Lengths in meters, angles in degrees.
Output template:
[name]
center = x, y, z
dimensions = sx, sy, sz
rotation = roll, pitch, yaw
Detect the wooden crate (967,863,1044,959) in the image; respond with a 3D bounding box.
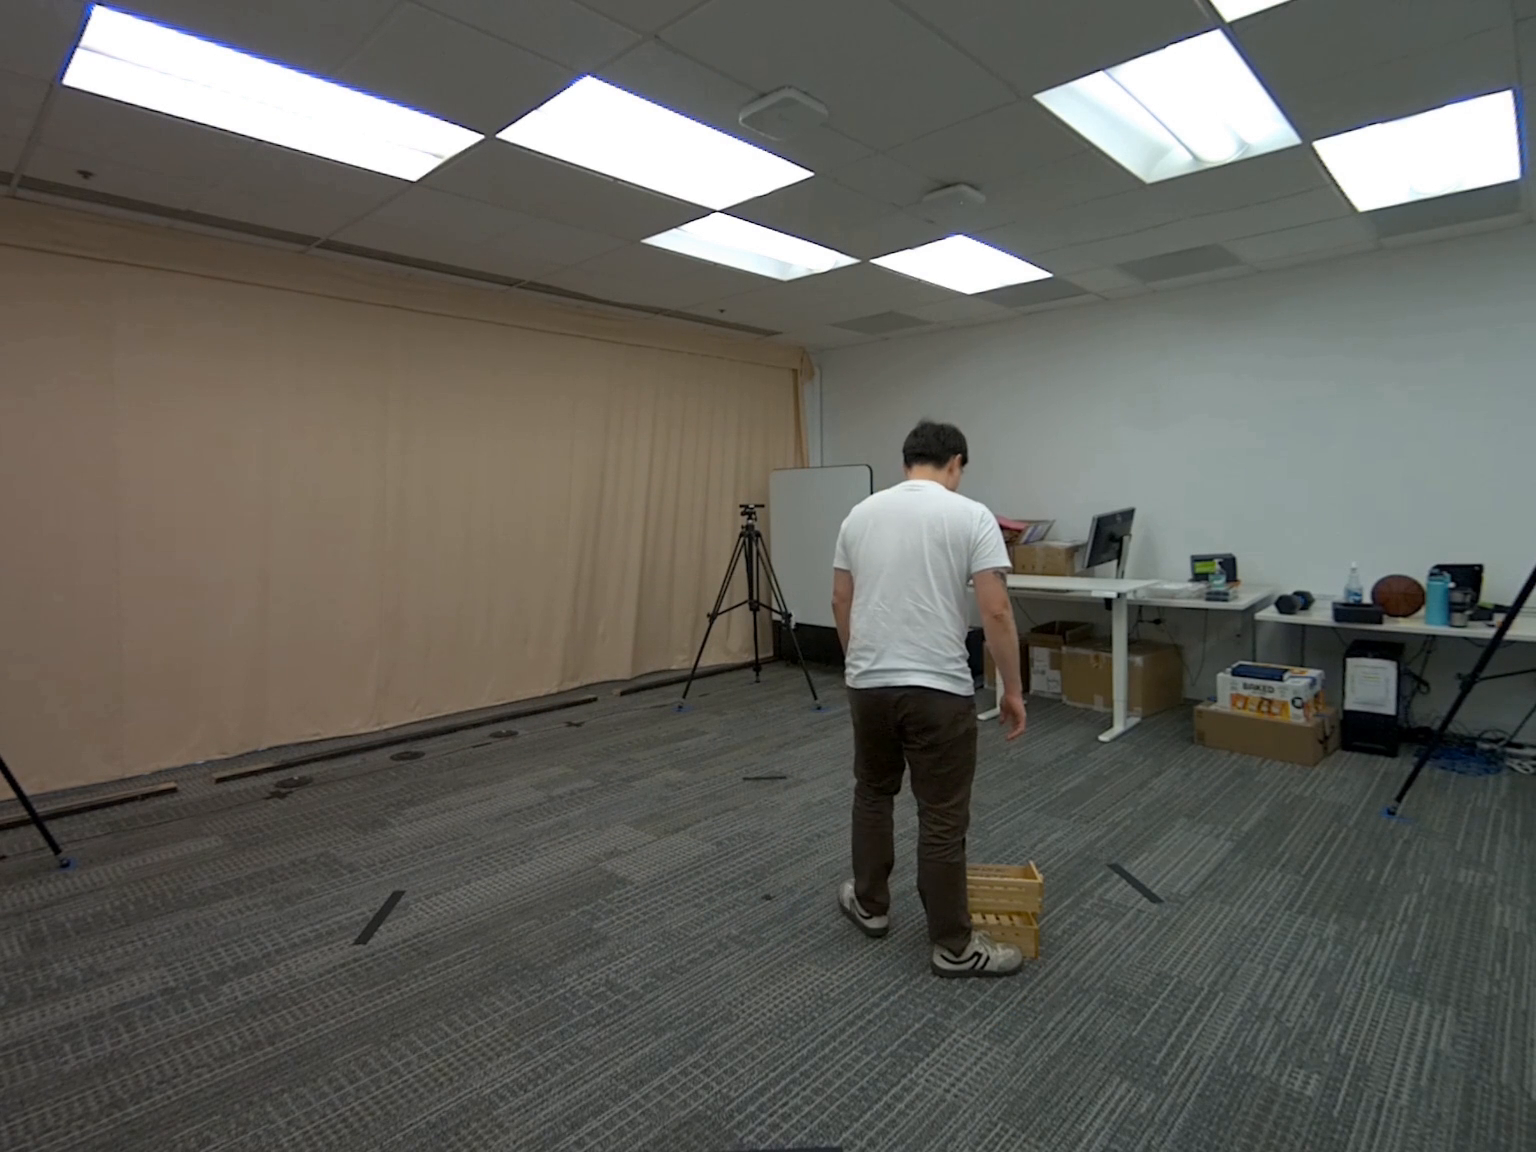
[wooden crate]
center = 0.702, 1.027, 2.681
dimensions = 0.328, 0.272, 0.299
rotation = 0, 4, 10
